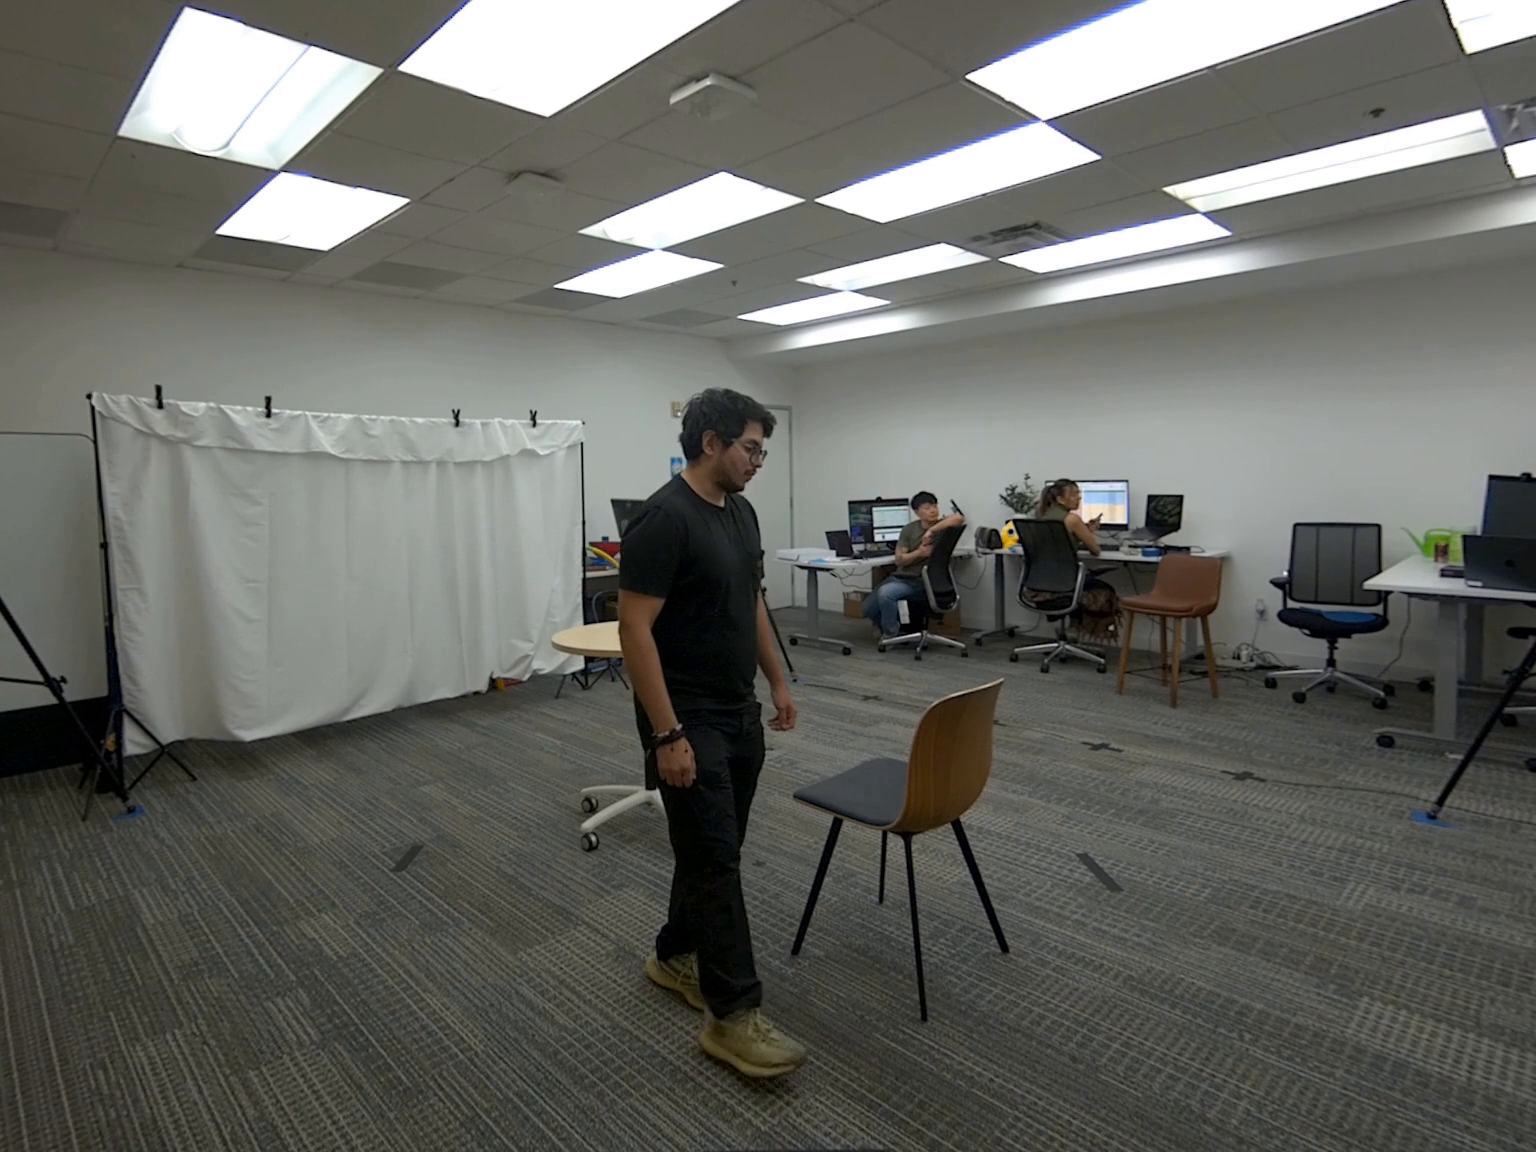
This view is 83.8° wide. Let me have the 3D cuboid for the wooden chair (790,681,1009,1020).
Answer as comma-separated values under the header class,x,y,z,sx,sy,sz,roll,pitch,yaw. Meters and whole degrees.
class,x,y,z,sx,sy,sz,roll,pitch,yaw
wooden chair,0.376,0.683,2.484,0.540,0.872,0.465,9,10,44
